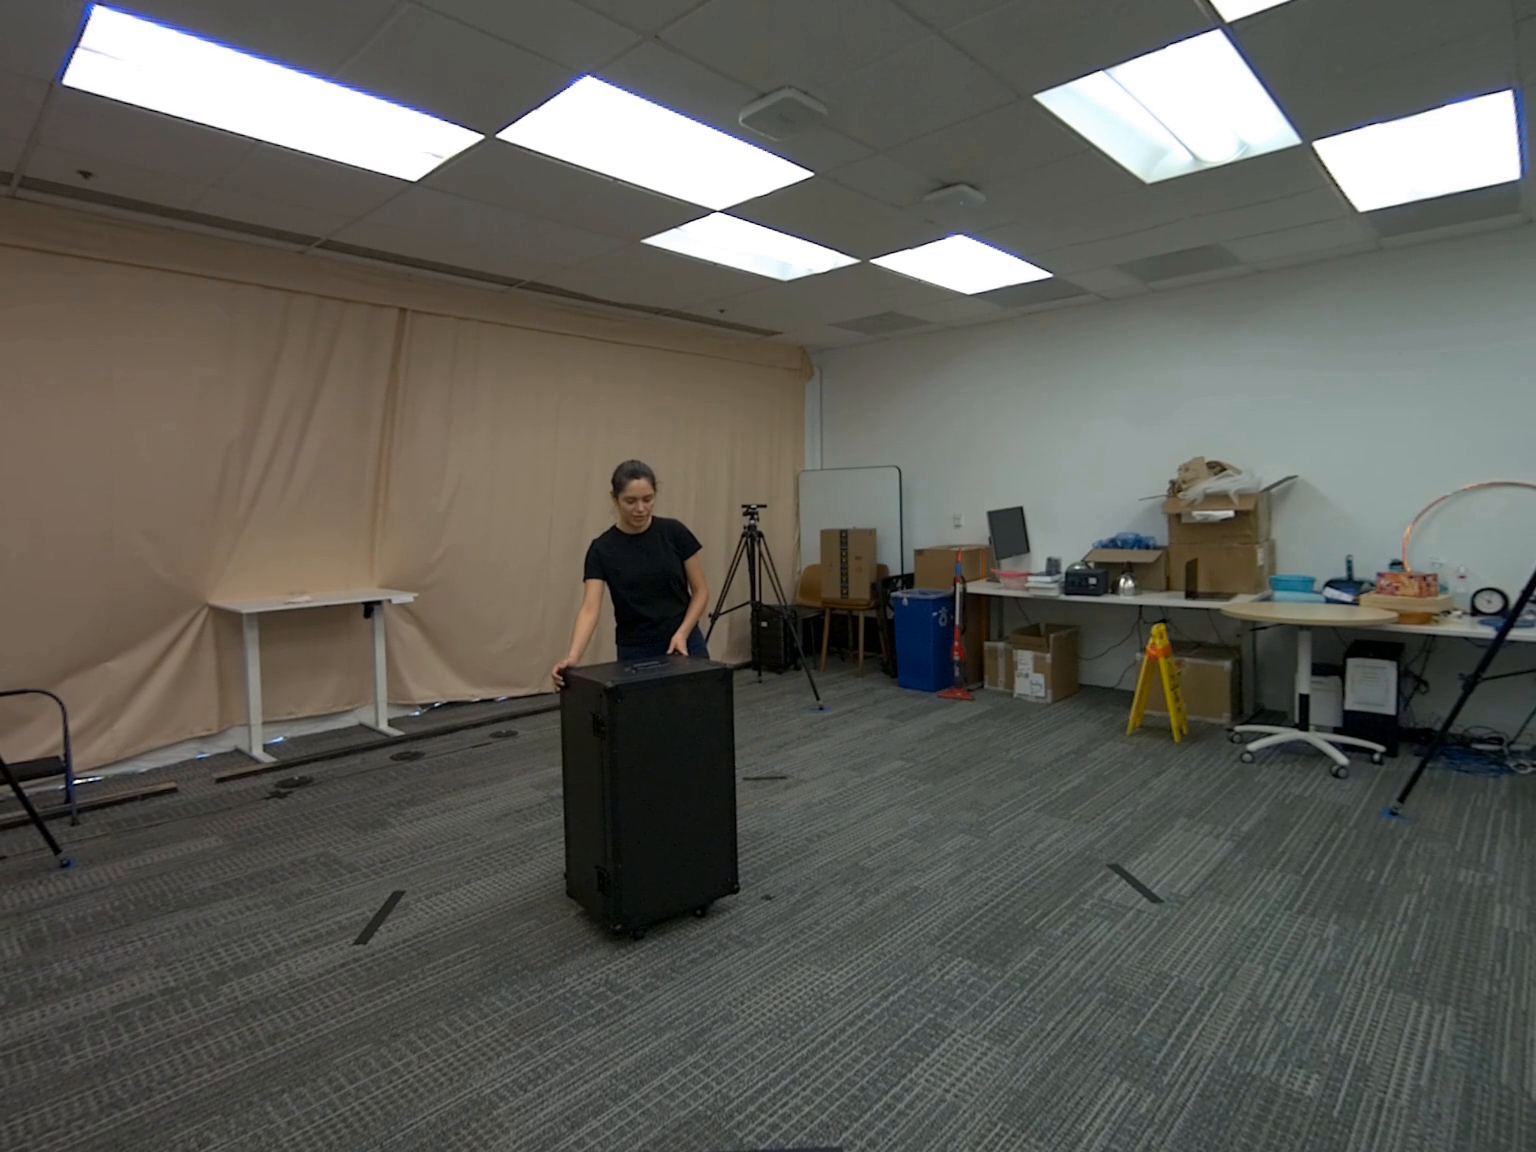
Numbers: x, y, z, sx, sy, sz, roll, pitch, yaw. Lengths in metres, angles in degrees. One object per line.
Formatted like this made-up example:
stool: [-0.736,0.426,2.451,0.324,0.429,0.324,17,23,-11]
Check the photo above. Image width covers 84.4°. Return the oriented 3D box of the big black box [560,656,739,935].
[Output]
big black box: [-0.403,0.729,2.866,0.506,0.860,0.408,-4,3,-36]
